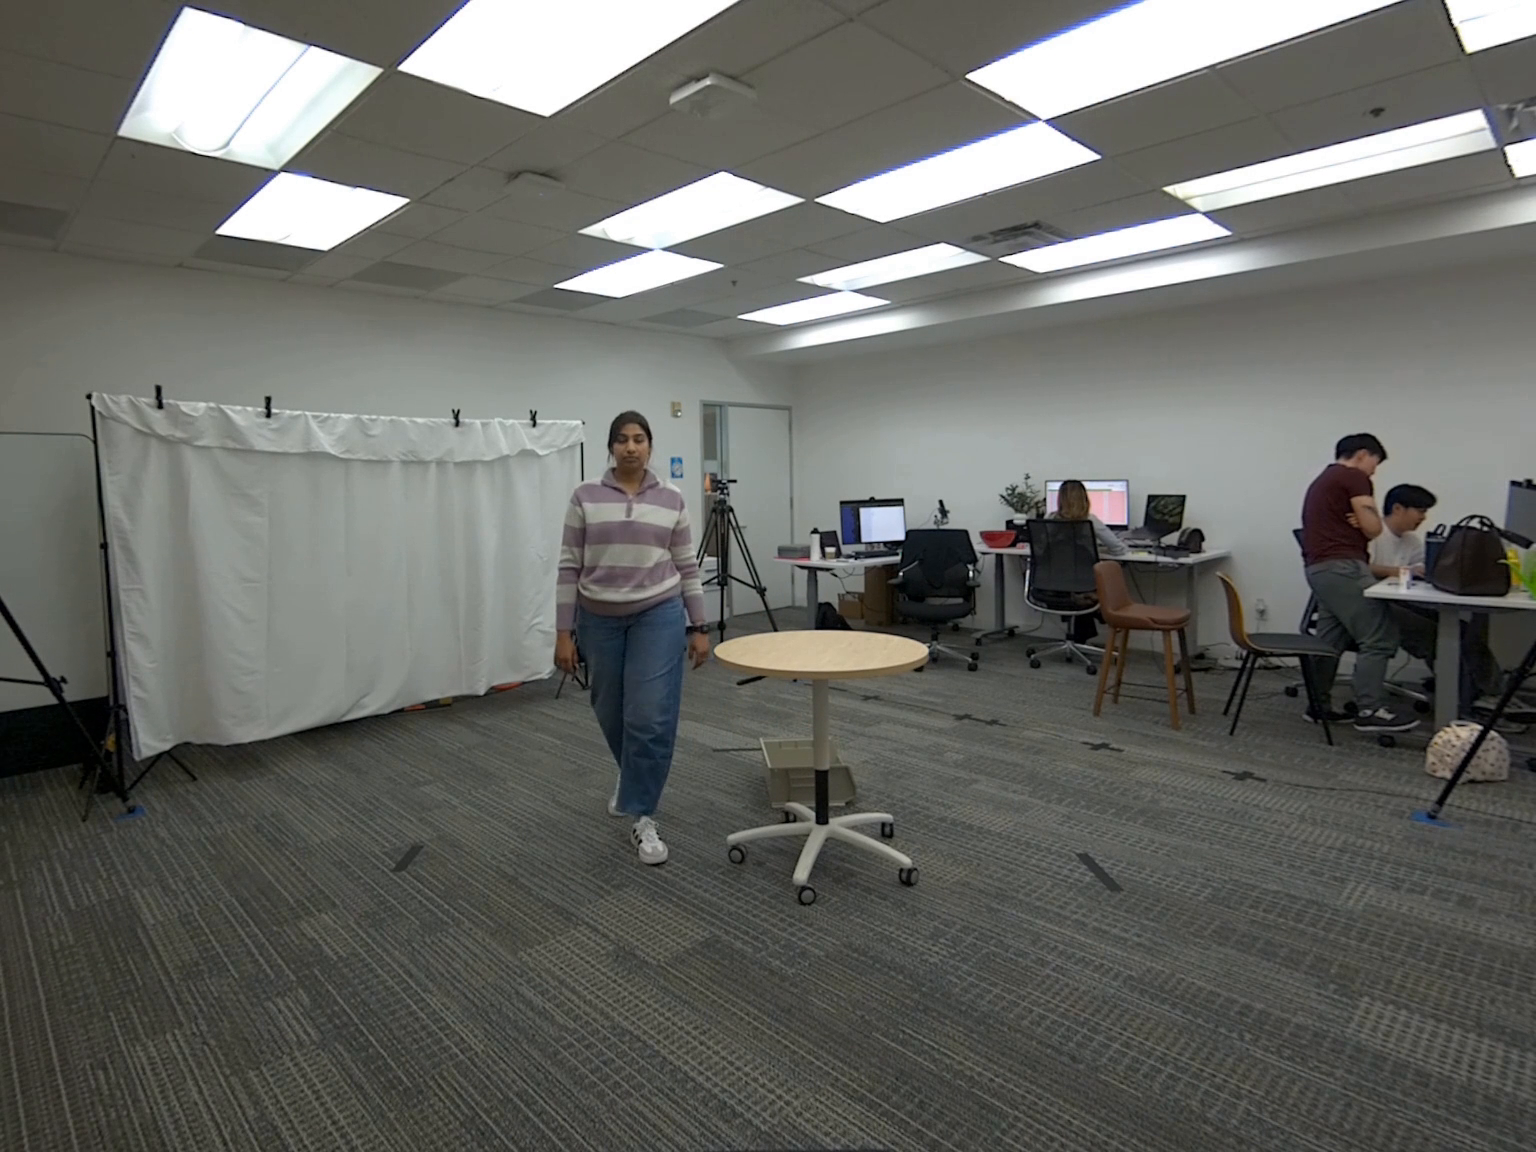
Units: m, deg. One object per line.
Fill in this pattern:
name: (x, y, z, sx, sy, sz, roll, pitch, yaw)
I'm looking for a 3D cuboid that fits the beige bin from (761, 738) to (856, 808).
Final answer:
beige bin: (0.172, 0.872, 3.842, 0.376, 0.188, 0.426, -2, 6, -4)
